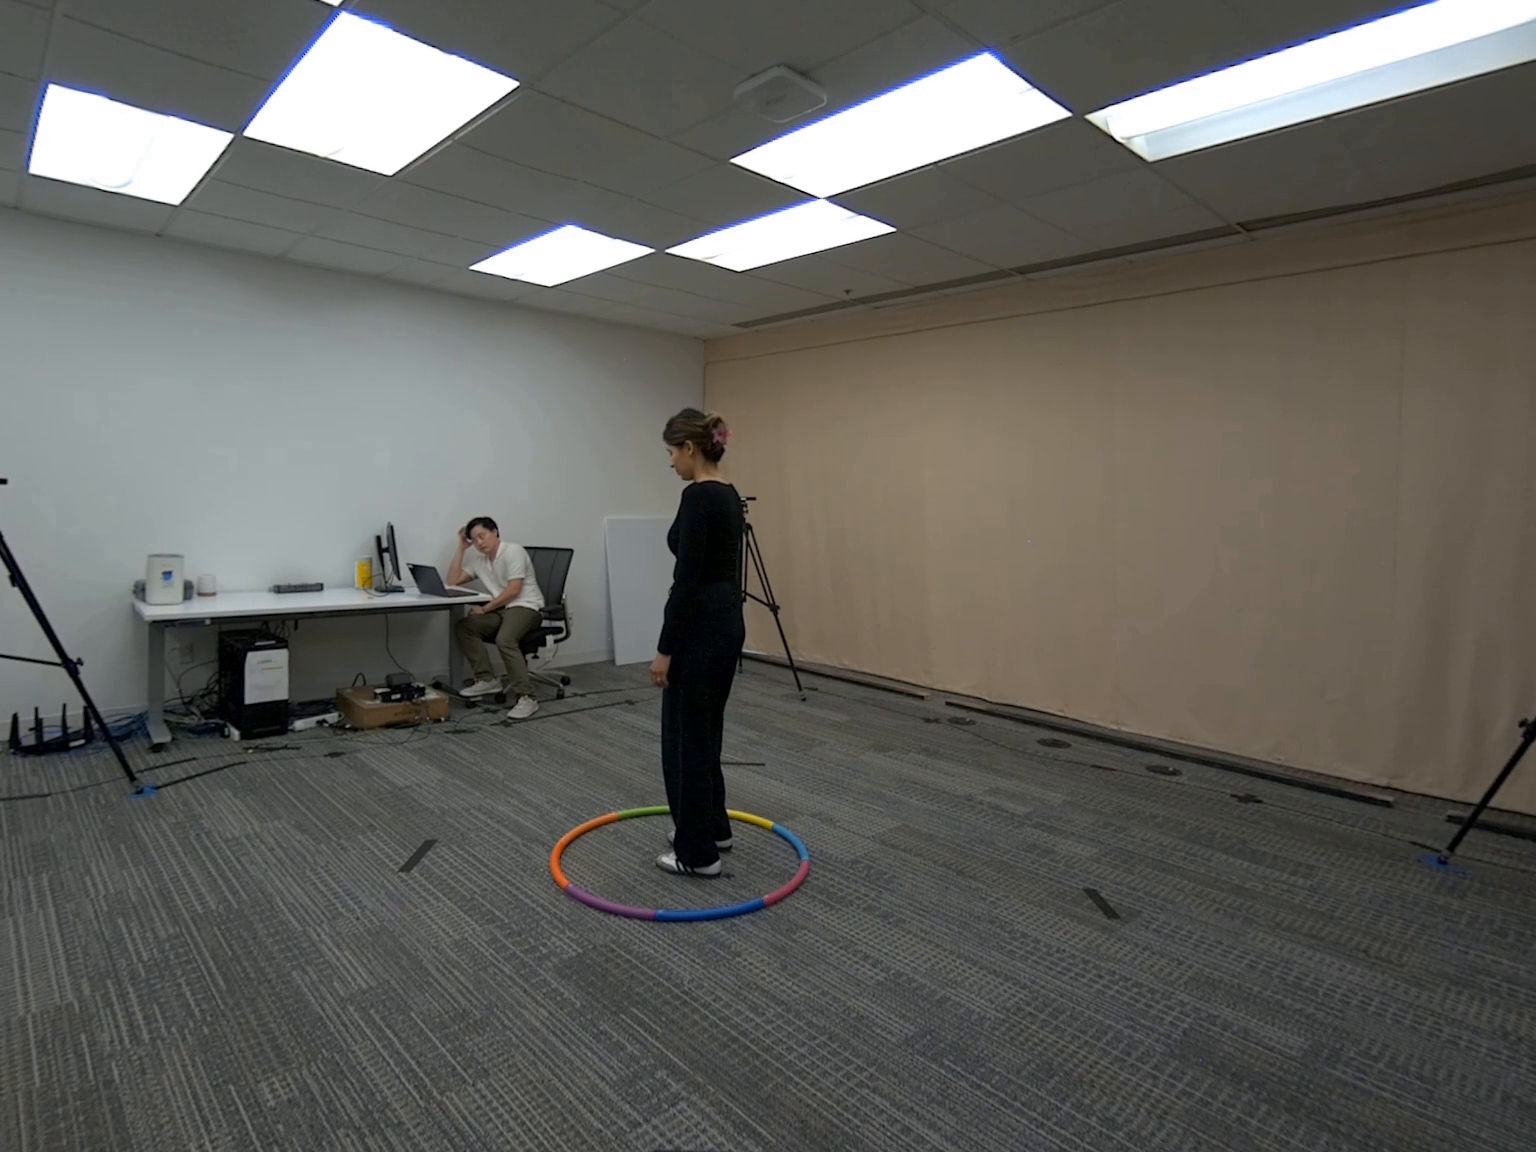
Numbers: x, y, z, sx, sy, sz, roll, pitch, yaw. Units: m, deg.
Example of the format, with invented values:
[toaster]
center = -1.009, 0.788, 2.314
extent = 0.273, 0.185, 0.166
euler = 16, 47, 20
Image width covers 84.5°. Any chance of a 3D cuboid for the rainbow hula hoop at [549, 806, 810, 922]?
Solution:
[rainbow hula hoop]
center = -0.340, 1.062, 3.240
extent = 0.978, 0.035, 0.982
euler = 2, 5, -1
